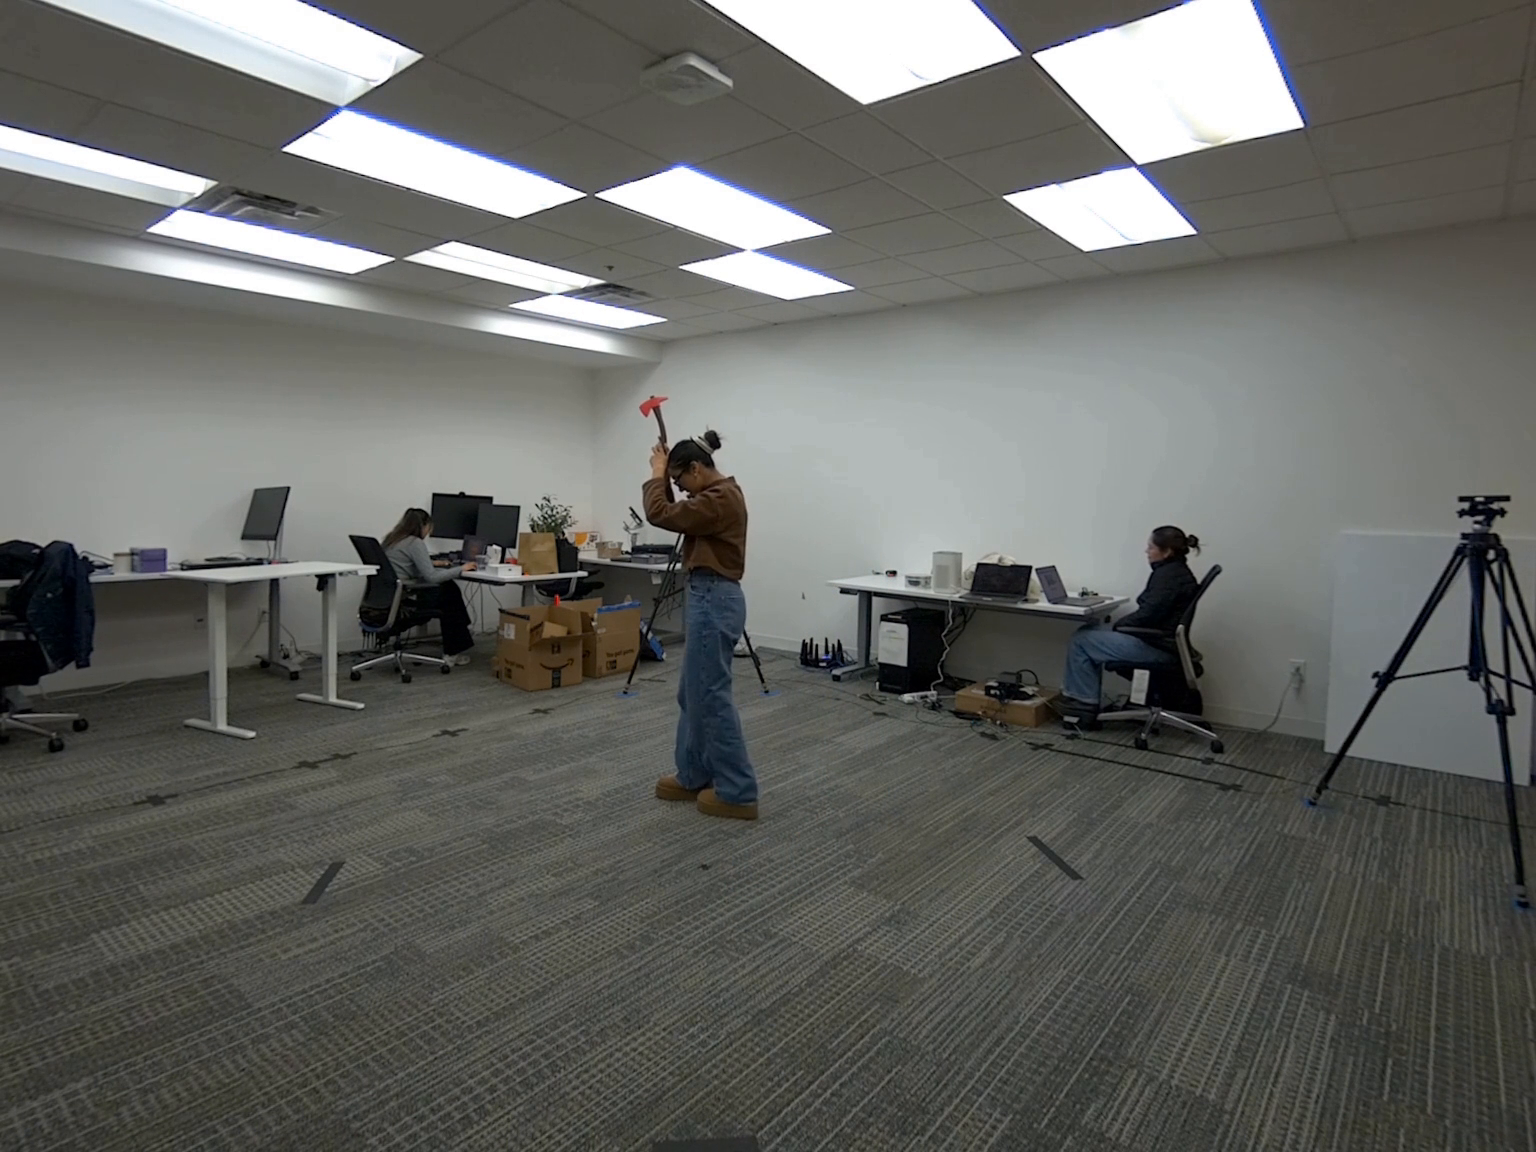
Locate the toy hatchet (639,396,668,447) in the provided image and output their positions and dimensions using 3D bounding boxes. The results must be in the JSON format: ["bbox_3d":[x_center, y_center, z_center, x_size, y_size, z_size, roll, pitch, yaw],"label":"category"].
[{"bbox_3d":[-0.519,-0.663,3.728,0.131,0.271,0.029,-2,-5,4],"label":"toy hatchet"}]
